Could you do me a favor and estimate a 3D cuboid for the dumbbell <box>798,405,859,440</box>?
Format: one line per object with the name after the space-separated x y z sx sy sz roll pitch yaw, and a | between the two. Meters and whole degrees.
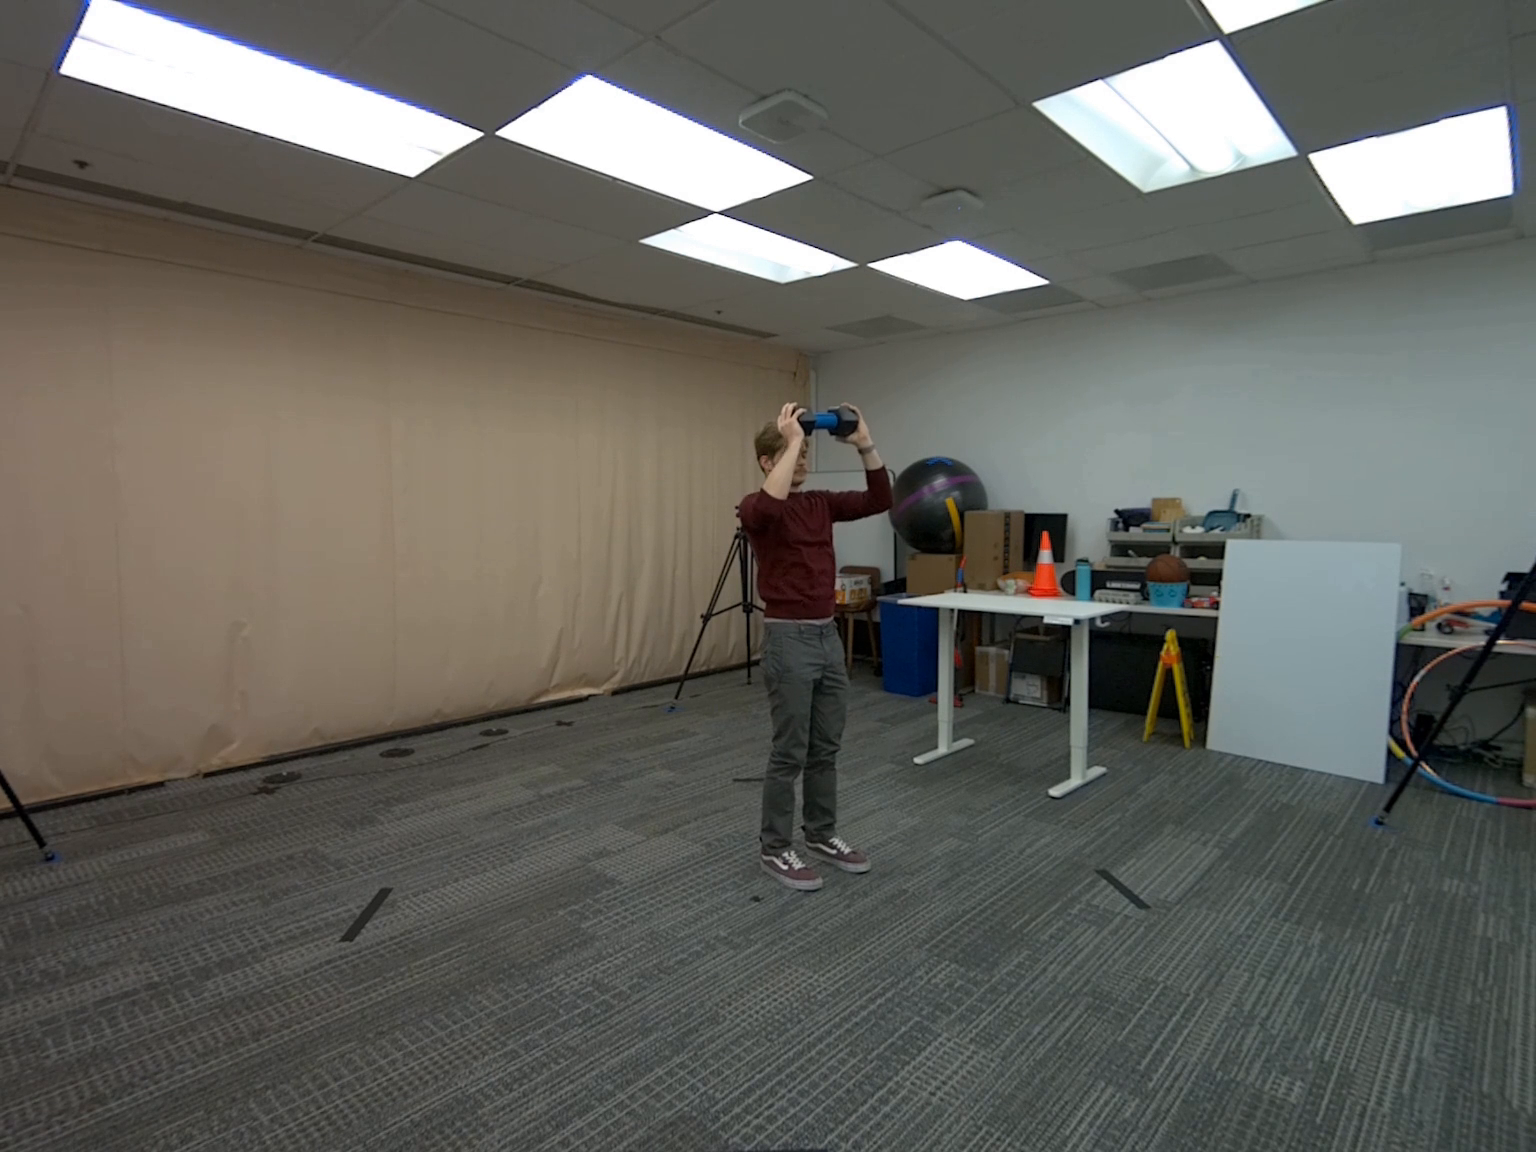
0.183 -0.565 3.065 0.286 0.125 0.110 -11 -19 -36 | dumbbell
